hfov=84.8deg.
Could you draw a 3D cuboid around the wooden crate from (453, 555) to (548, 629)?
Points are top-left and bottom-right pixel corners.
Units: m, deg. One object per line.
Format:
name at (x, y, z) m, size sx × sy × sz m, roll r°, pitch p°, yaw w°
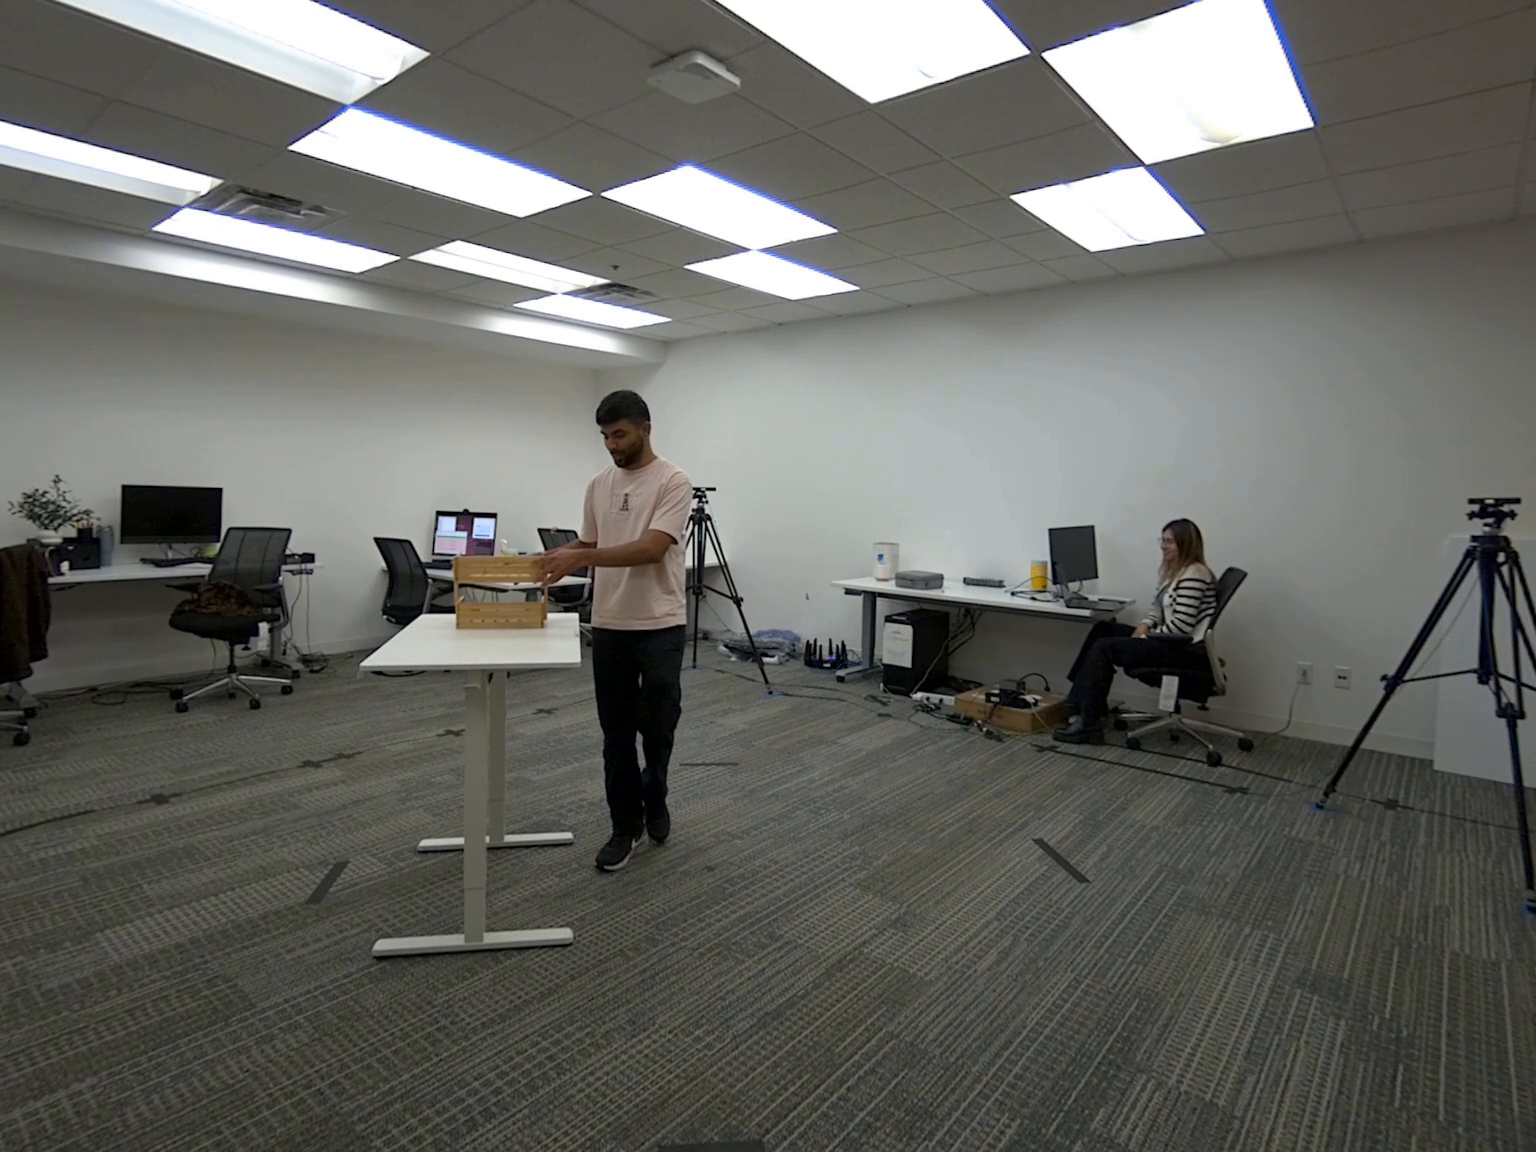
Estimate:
wooden crate at (-0.988, 0.044, 3.105) m, size 0.320 × 0.272 × 0.307 m, roll 0°, pitch 4°, yaw -13°
